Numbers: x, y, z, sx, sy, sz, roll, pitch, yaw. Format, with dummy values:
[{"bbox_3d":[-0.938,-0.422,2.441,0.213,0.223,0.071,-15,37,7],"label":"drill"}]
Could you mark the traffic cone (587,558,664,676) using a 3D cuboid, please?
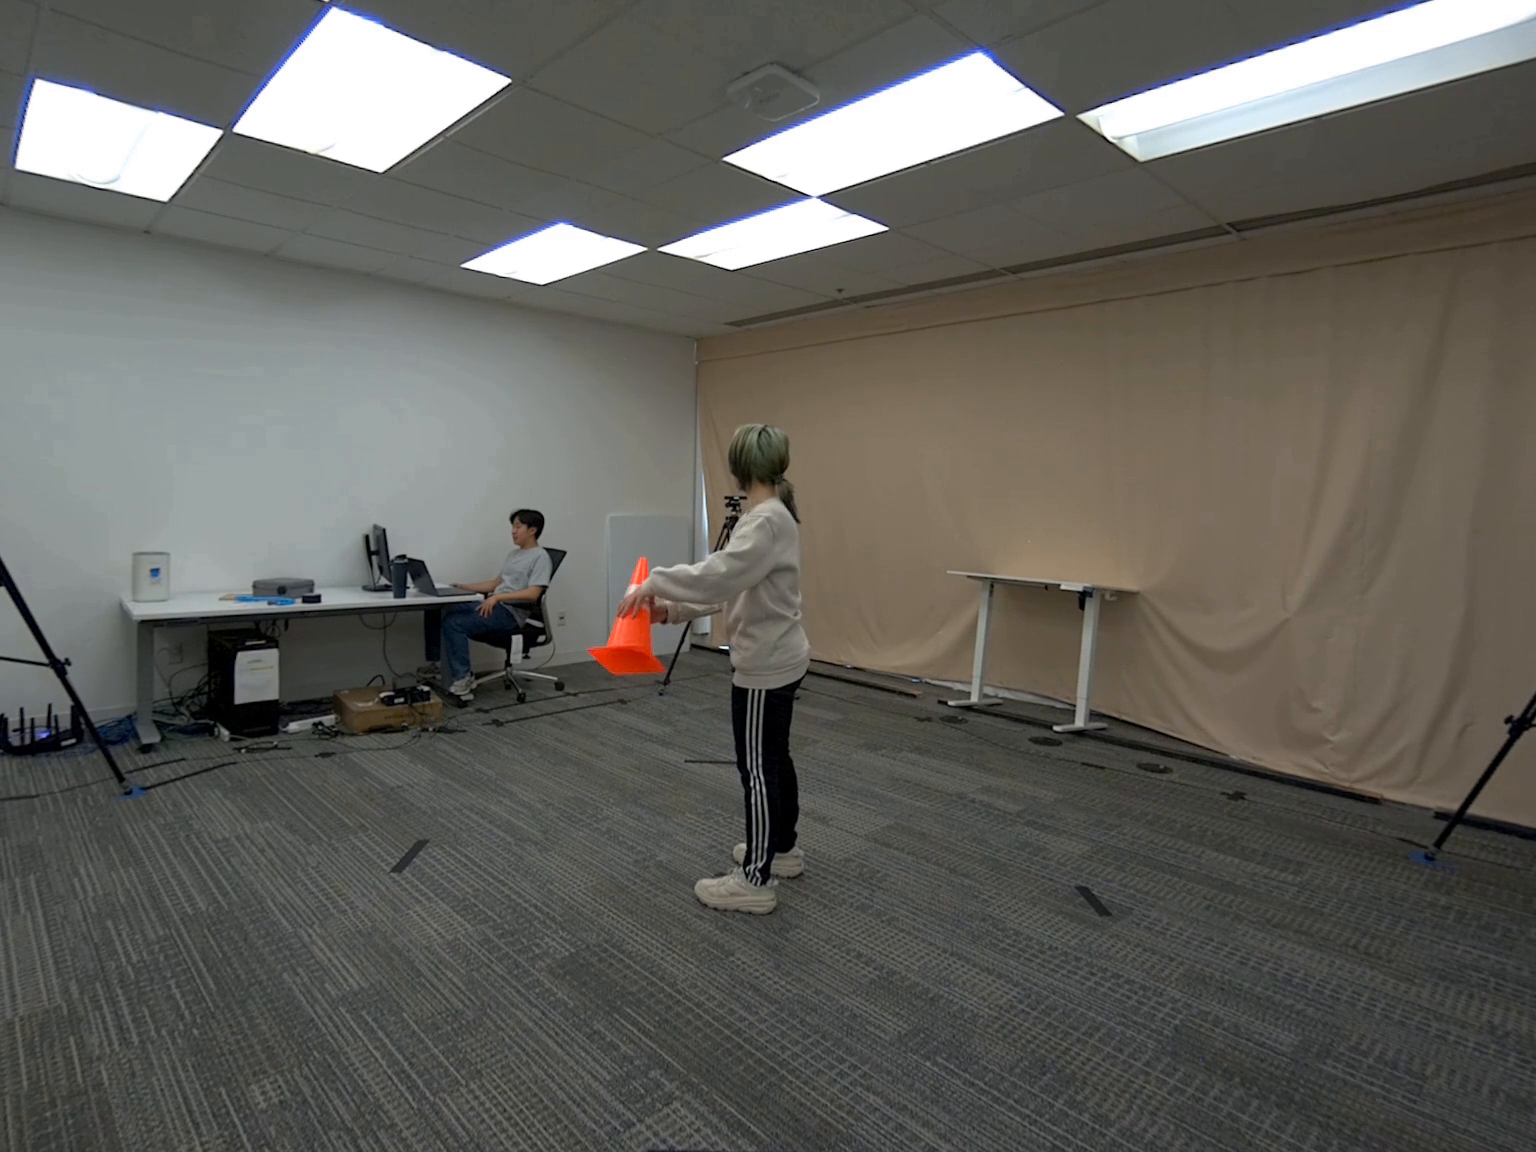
[{"bbox_3d":[-0.438,0.108,2.779,0.206,0.391,0.198,-10,-35,20],"label":"traffic cone"}]
